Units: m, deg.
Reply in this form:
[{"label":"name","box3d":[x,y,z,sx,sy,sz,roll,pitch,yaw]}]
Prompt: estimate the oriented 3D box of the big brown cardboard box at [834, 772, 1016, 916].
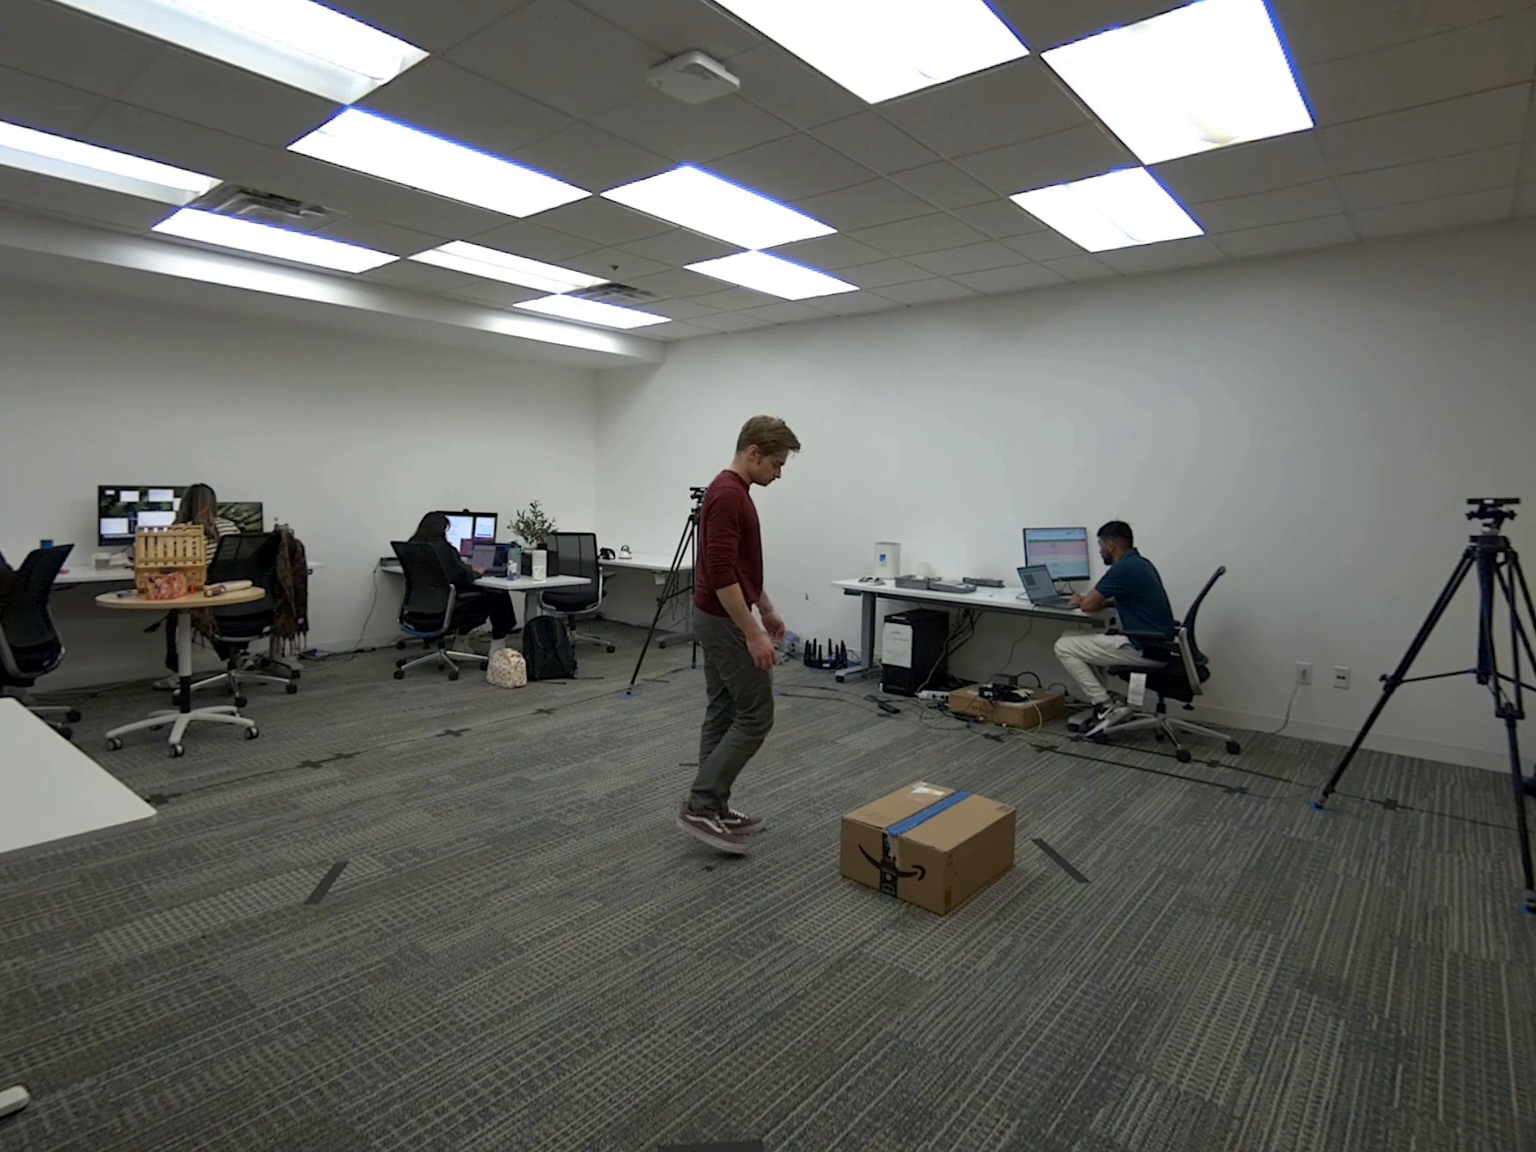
[{"label":"big brown cardboard box","box3d":[0.592,0.967,3.134,0.432,0.232,0.572,6,8,40]}]
